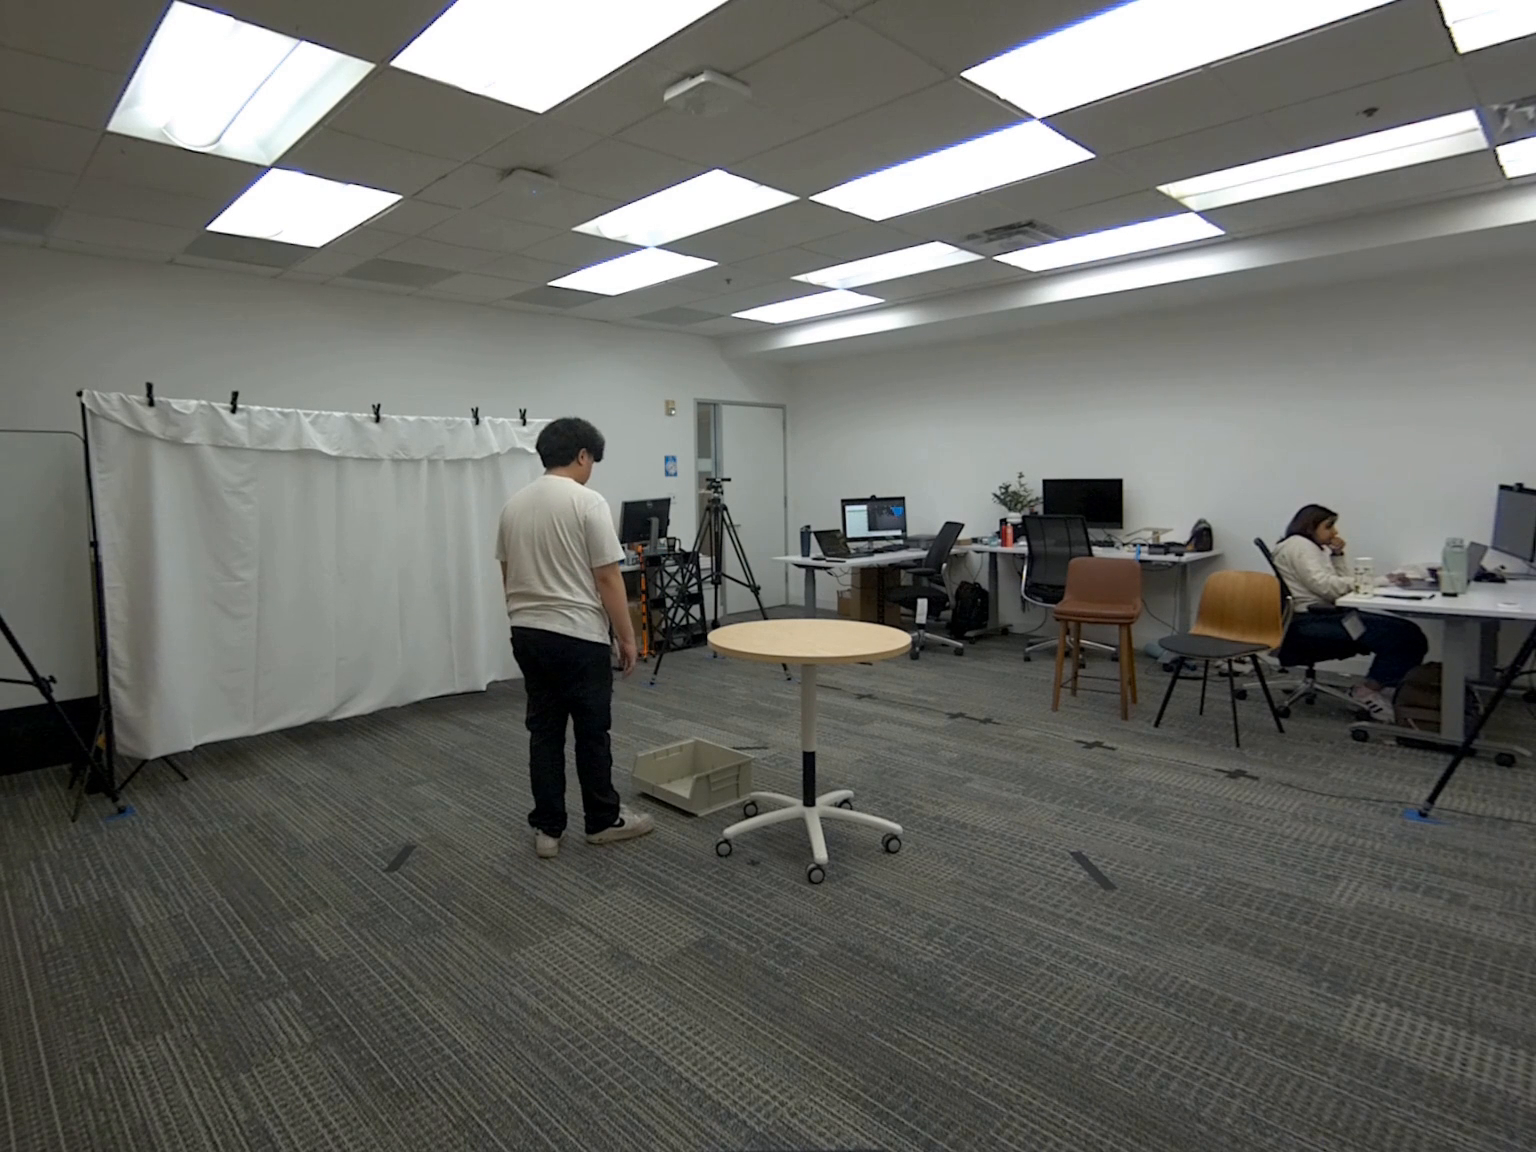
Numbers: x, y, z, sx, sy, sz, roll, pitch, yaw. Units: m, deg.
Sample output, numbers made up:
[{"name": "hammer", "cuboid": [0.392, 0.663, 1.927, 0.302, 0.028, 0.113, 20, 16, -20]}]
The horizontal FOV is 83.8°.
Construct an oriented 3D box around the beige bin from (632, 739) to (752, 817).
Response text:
[{"name": "beige bin", "cuboid": [-0.331, 0.884, 3.775, 0.367, 0.188, 0.435, -5, 7, -43]}]
